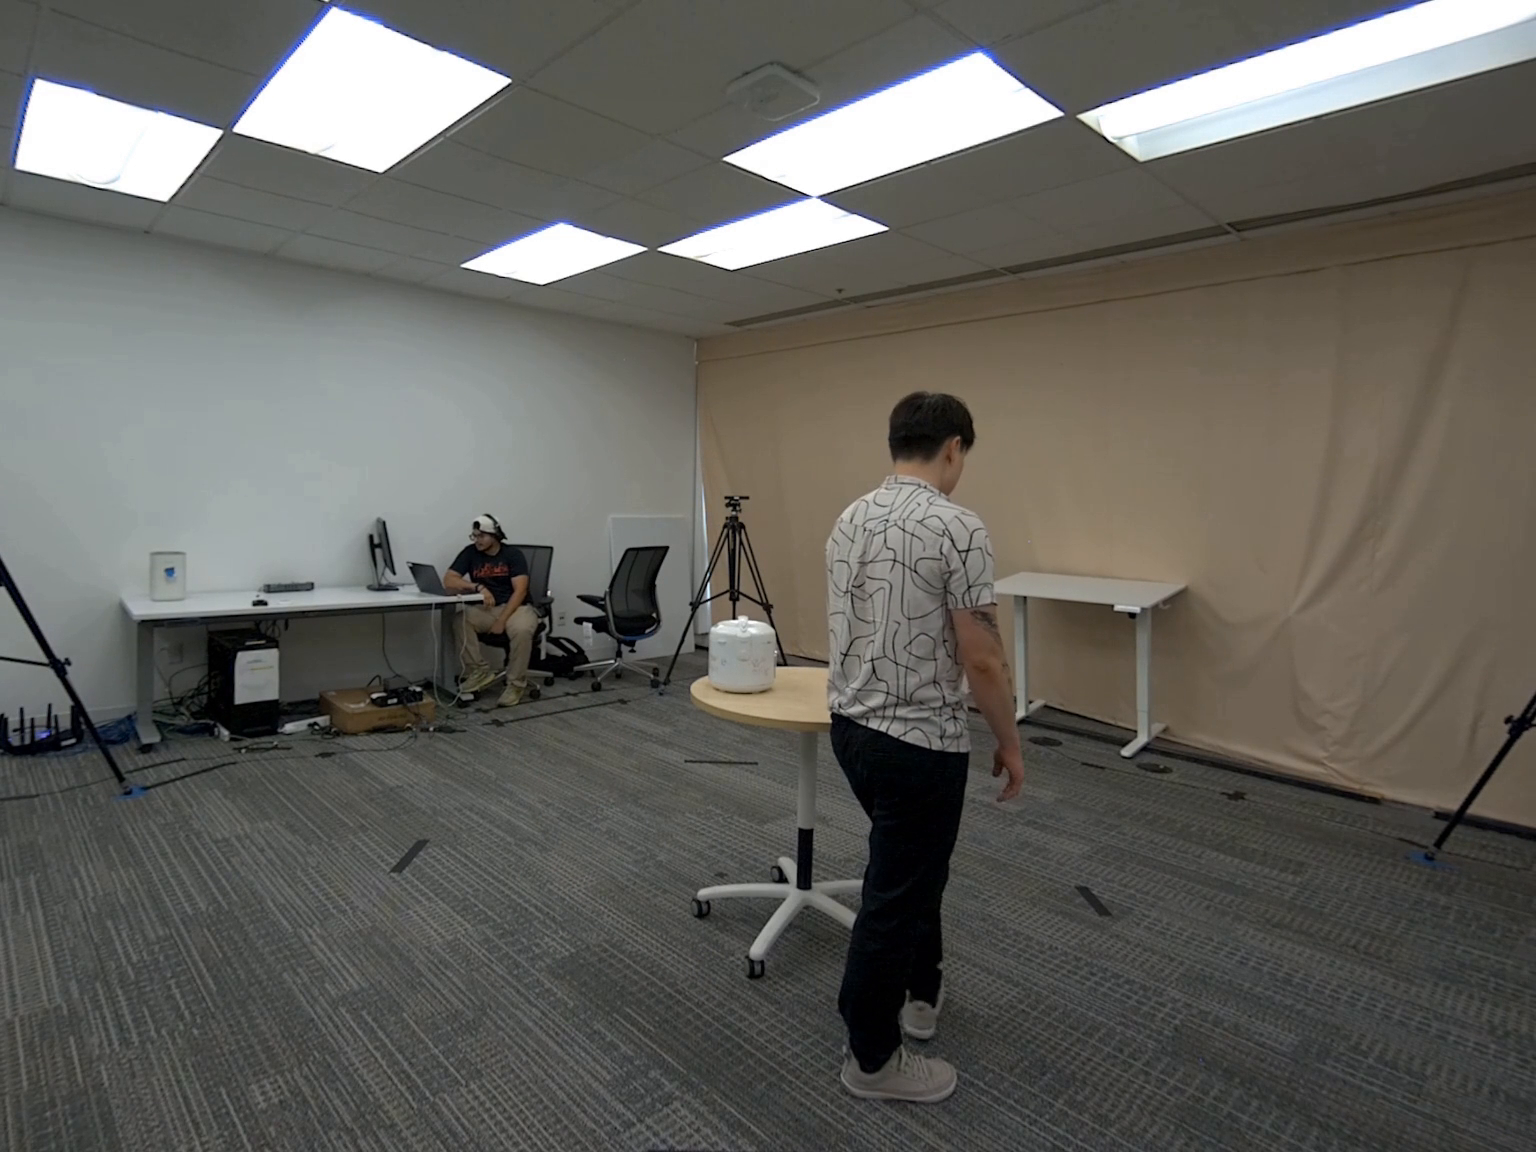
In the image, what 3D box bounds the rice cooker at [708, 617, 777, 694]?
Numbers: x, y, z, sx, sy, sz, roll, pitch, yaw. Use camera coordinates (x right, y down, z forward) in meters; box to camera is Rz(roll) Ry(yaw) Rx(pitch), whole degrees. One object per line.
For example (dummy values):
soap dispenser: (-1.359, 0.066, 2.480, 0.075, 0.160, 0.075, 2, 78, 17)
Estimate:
rice cooker: (-0.084, 0.243, 2.687, 0.217, 0.232, 0.221, 1, 4, -2)
